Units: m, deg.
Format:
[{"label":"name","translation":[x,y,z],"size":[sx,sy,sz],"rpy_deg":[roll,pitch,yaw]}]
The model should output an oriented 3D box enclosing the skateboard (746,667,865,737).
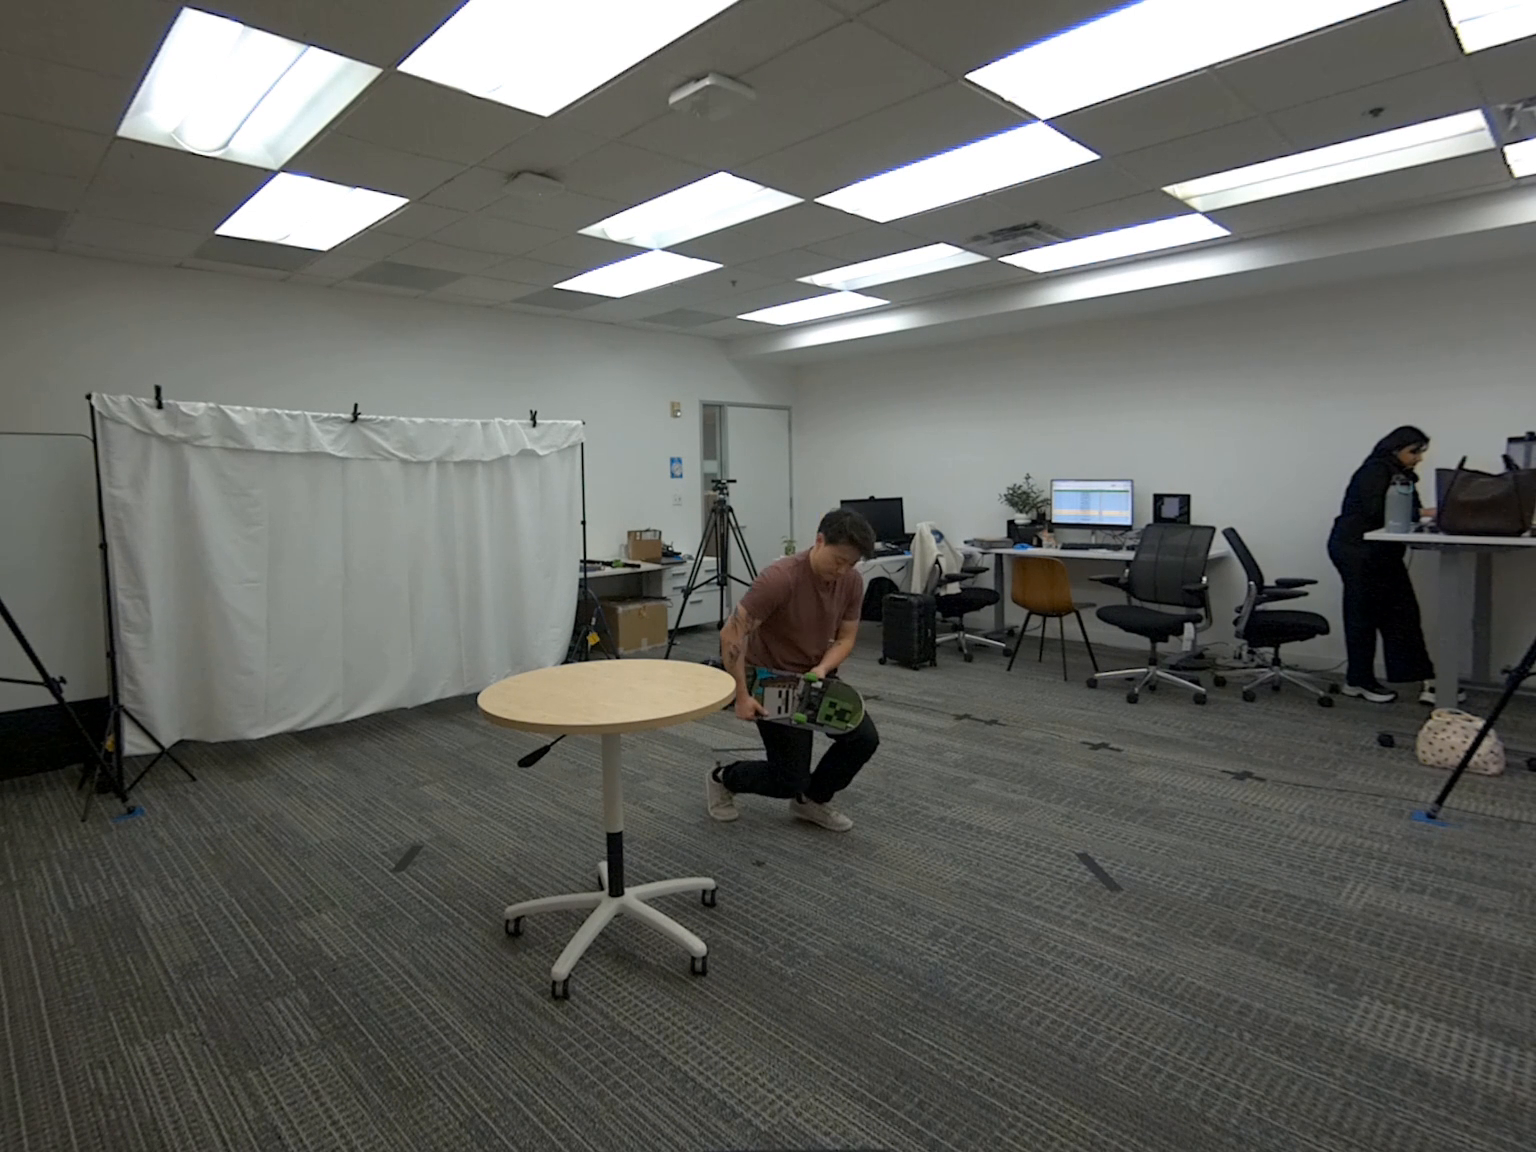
[{"label":"skateboard","translation":[-0.018,0.436,3.217],"size":[0.809,0.195,0.106],"rpy_deg":[6,-20,35]}]
